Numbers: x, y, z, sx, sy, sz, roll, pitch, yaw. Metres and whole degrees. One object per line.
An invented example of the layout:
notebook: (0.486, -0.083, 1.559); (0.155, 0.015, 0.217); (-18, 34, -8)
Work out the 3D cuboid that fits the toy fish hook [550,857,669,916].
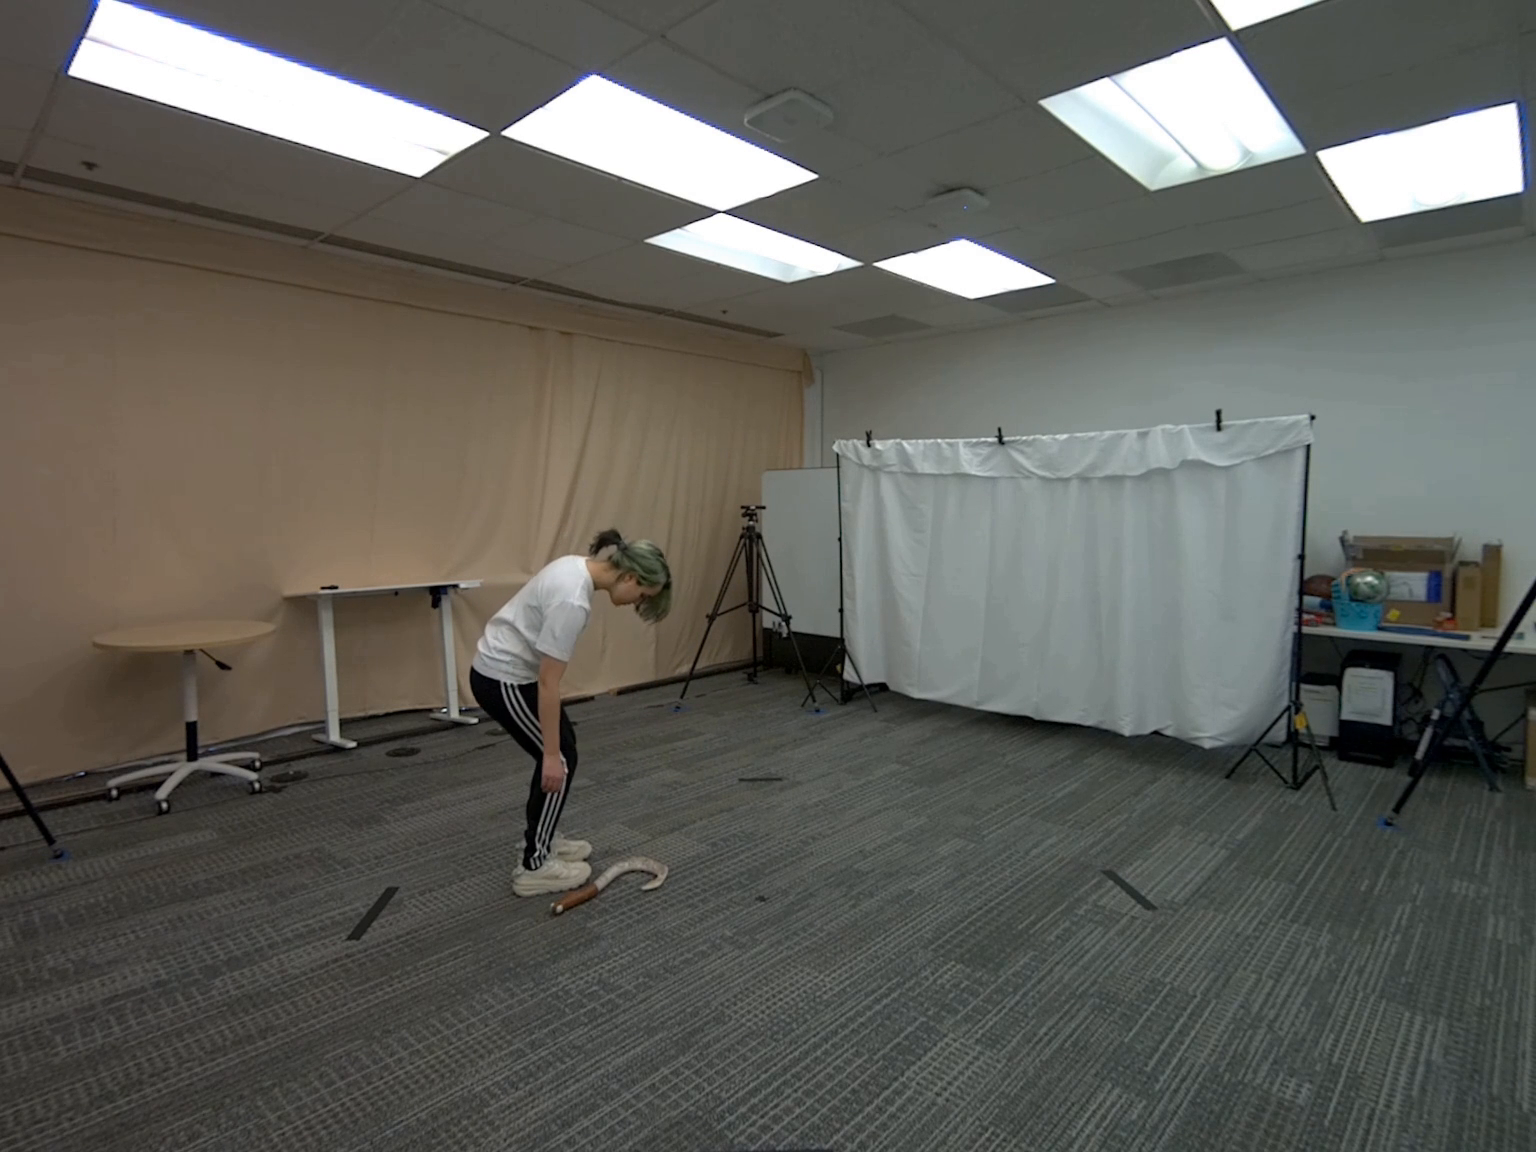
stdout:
toy fish hook: (-0.556, 1.122, 3.034); (0.231, 0.048, 0.492); (-1, 4, 33)
